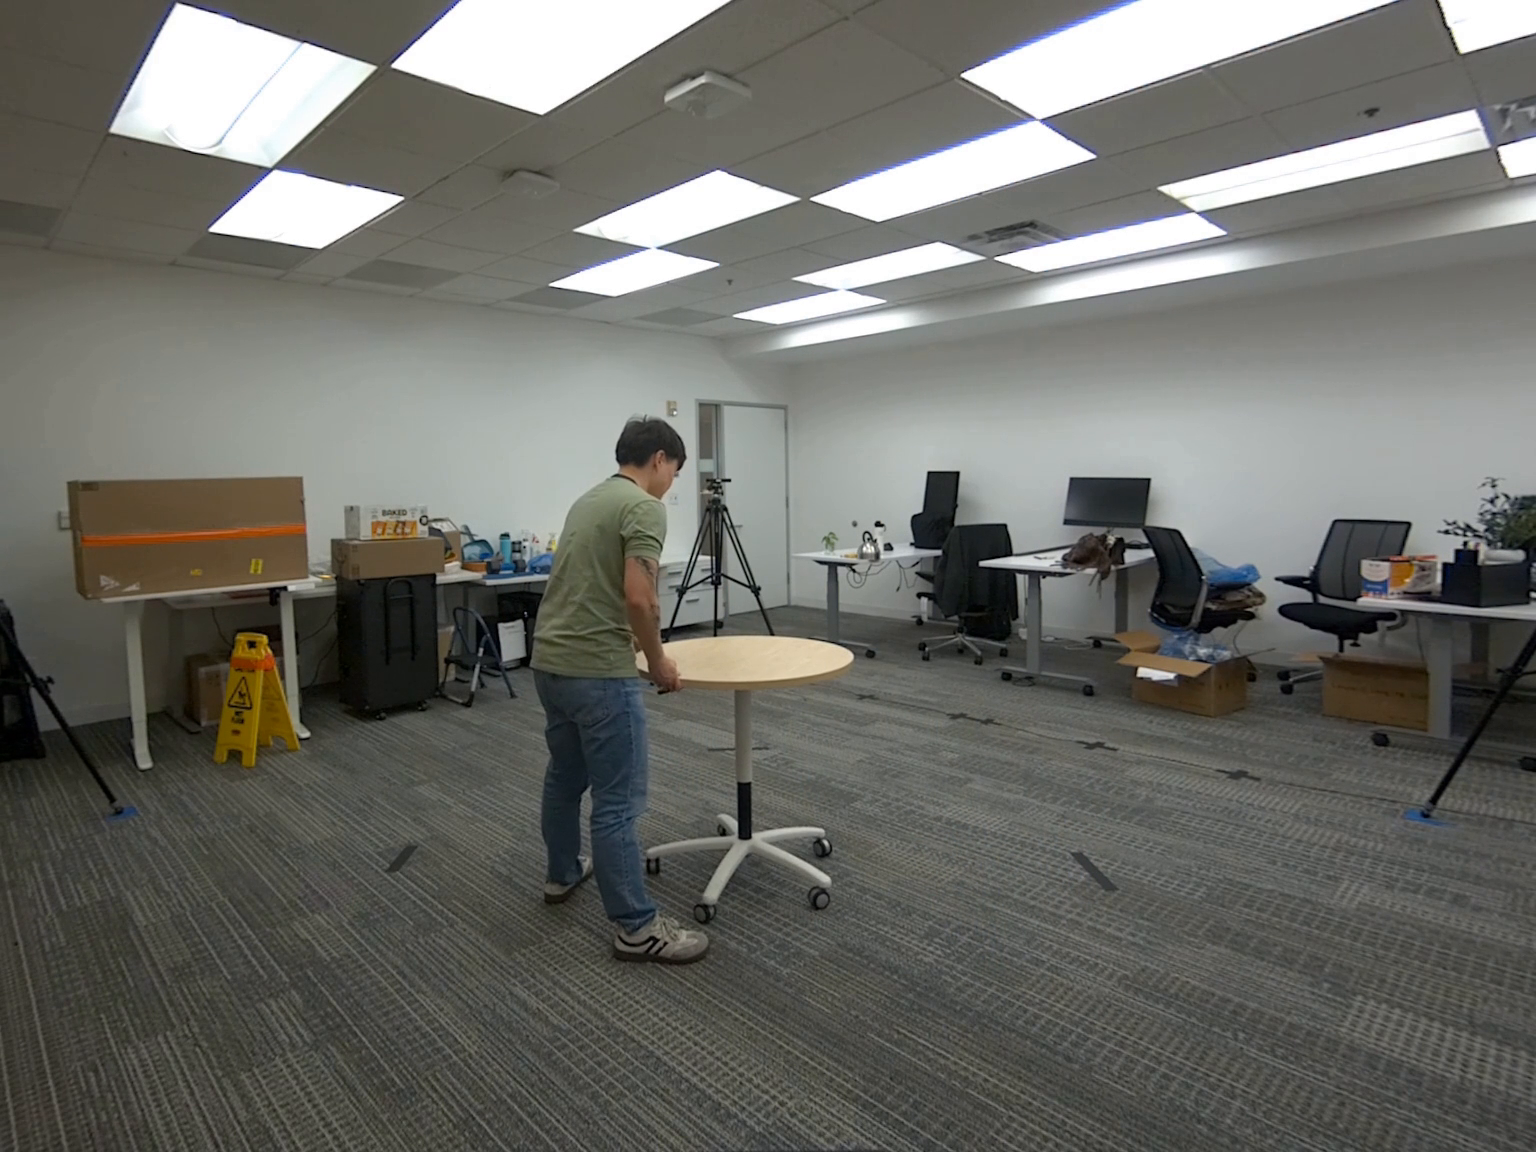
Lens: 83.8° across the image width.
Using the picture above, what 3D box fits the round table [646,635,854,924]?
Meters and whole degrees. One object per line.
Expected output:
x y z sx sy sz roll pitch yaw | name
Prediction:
-0.087 0.668 2.989 0.763 0.791 0.768 -1 5 -2 | round table
